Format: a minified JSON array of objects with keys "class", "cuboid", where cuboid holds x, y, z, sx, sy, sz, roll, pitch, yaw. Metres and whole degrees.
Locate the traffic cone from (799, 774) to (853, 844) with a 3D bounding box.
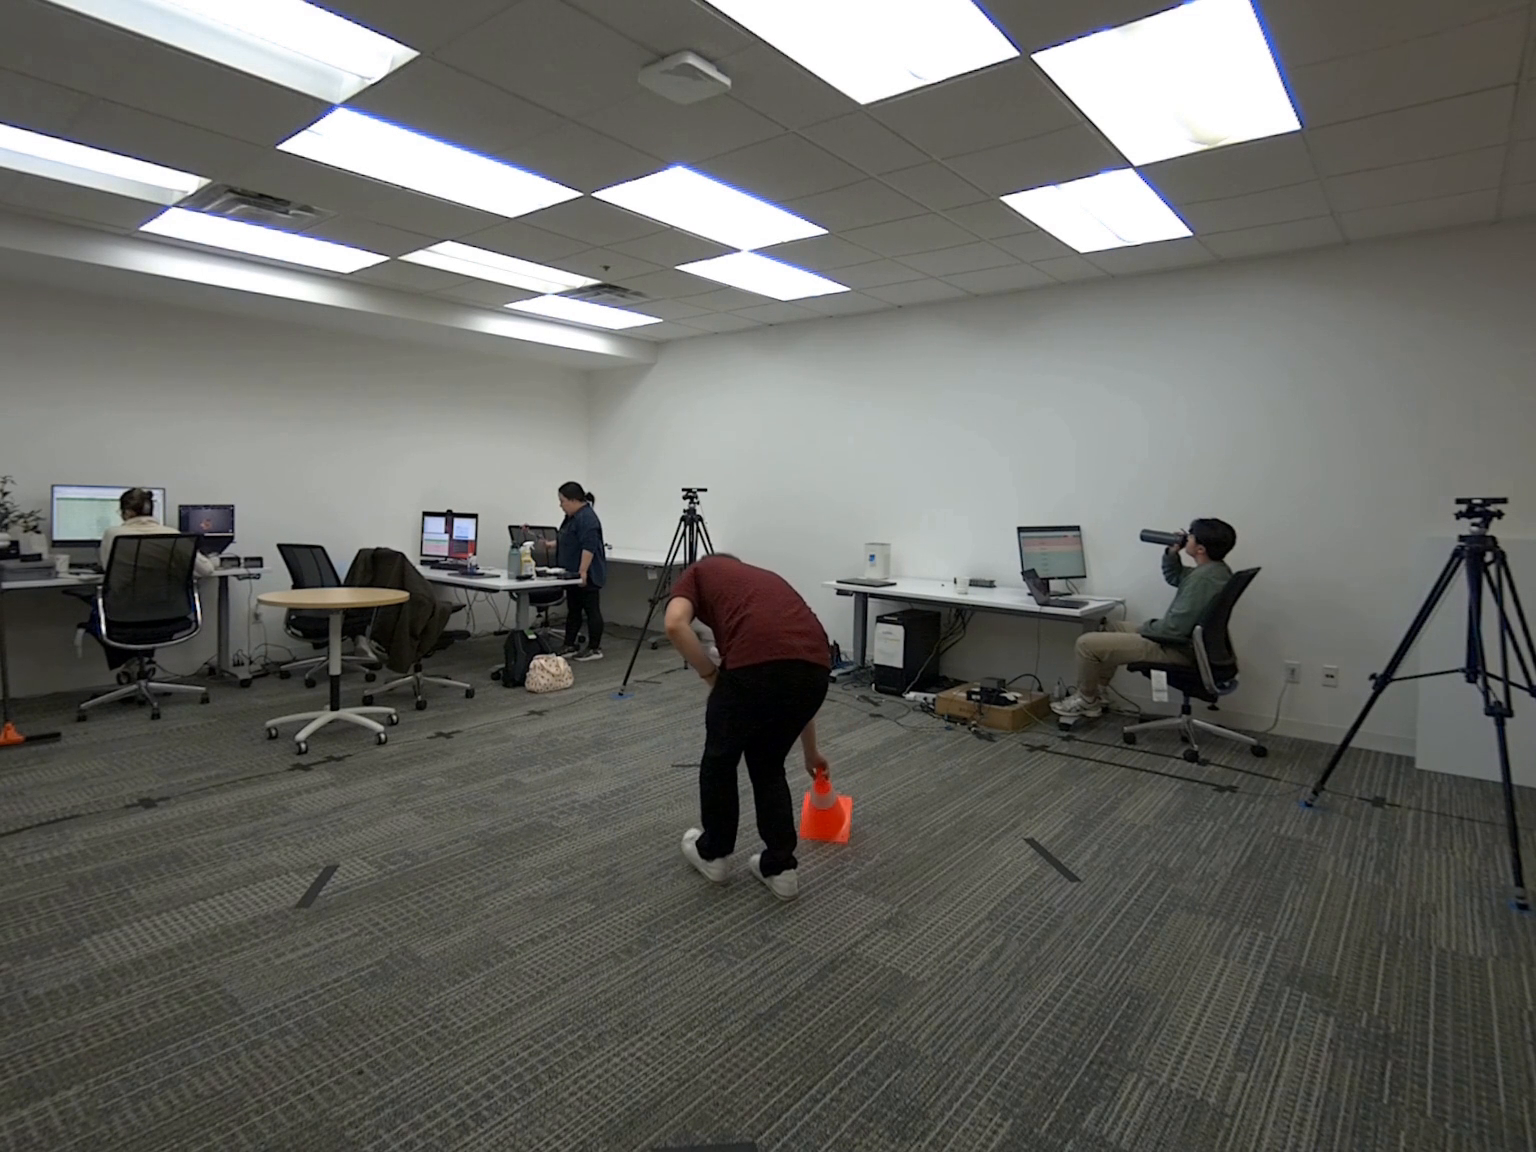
[{"class":"traffic cone","cuboid":[0.211,0.854,3.327,0.208,0.207,0.371,7,-41,13]}]
